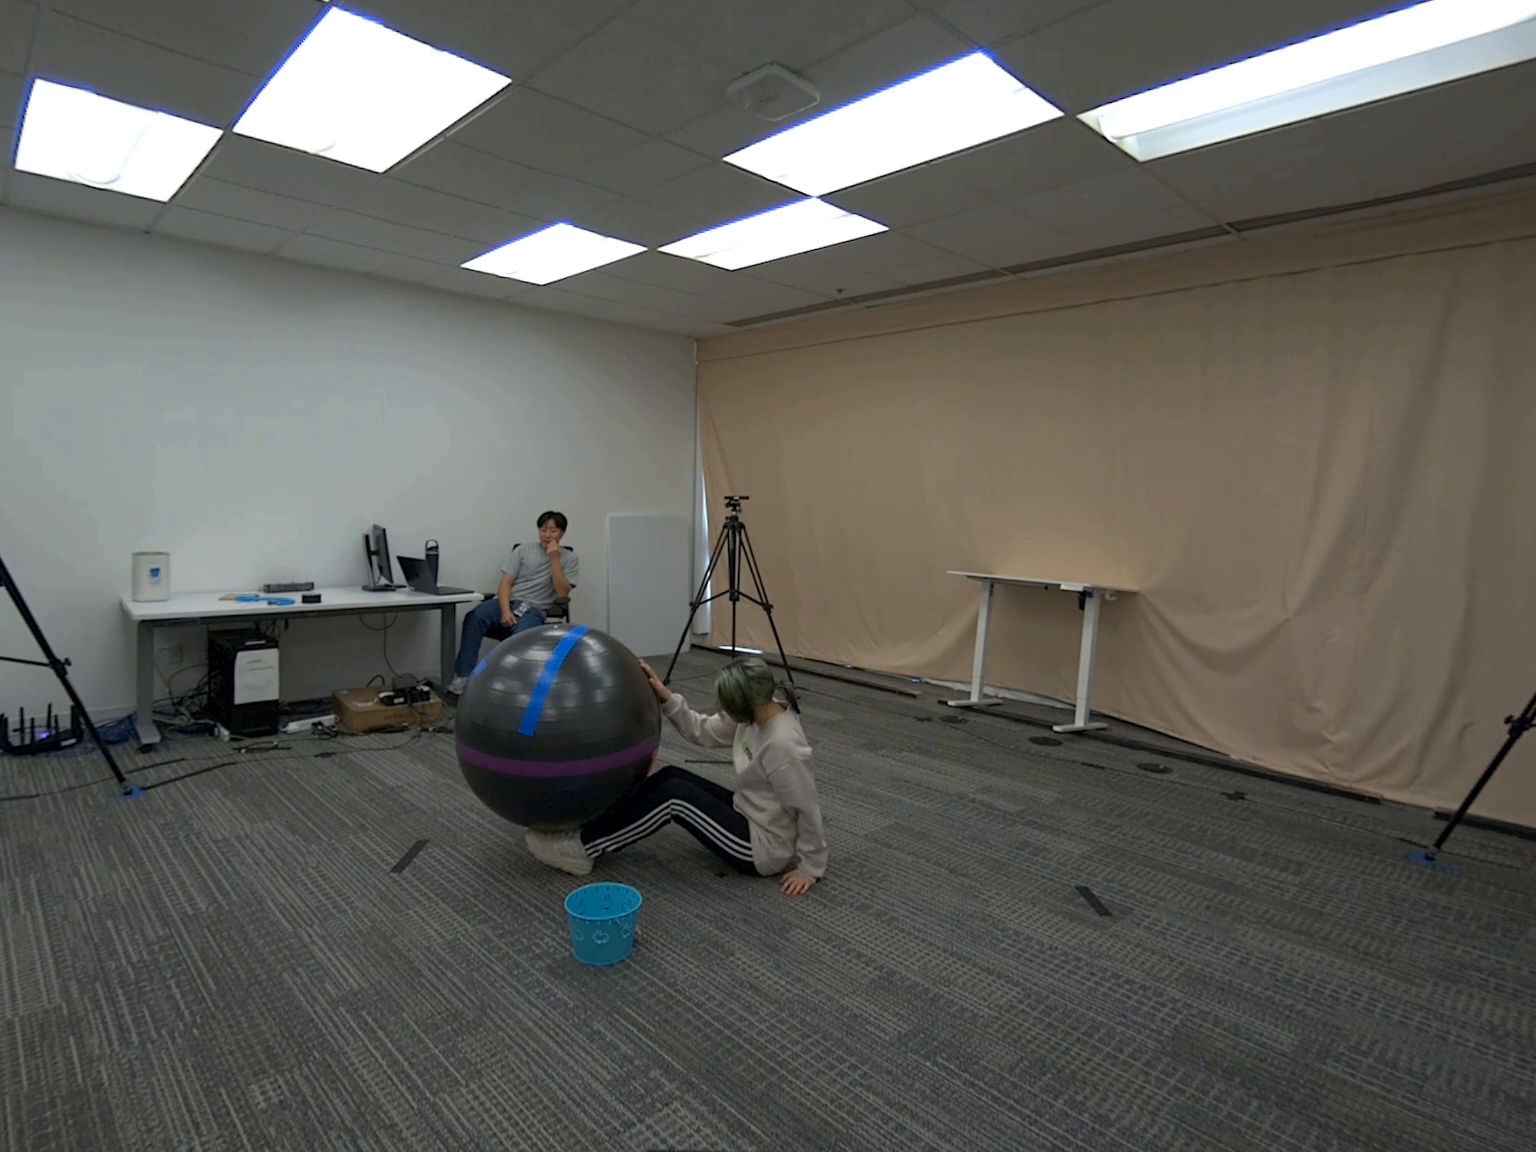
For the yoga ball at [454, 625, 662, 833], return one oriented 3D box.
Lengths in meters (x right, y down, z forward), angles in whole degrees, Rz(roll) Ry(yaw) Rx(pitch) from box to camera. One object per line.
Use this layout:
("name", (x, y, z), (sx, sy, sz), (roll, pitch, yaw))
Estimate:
("yoga ball", (-0.799, 0.561, 3.152), (0.757, 0.756, 0.761), (1, 4, -1))
